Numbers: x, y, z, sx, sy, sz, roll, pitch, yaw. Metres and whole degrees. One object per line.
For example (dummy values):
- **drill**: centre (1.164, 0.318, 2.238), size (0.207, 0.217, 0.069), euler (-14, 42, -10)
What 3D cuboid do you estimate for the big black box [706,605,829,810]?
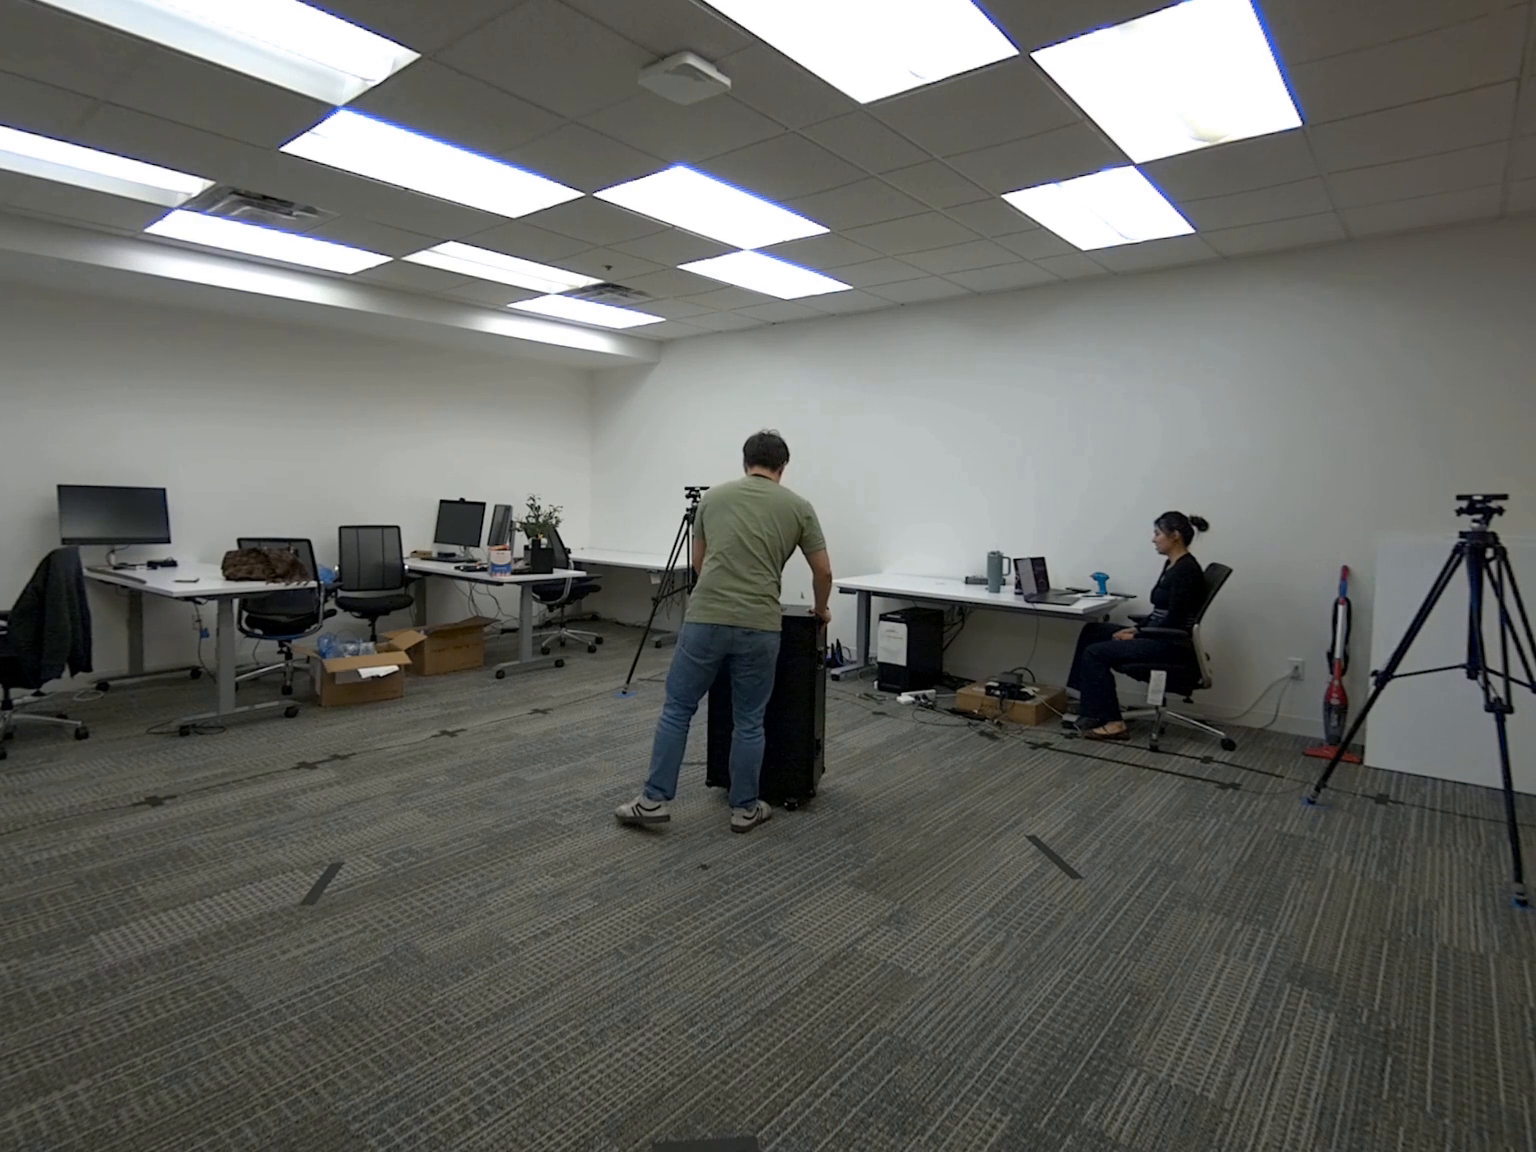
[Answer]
- **big black box**: centre (-0.008, 0.568, 3.876), size (0.530, 0.859, 0.391), euler (2, 3, 14)
